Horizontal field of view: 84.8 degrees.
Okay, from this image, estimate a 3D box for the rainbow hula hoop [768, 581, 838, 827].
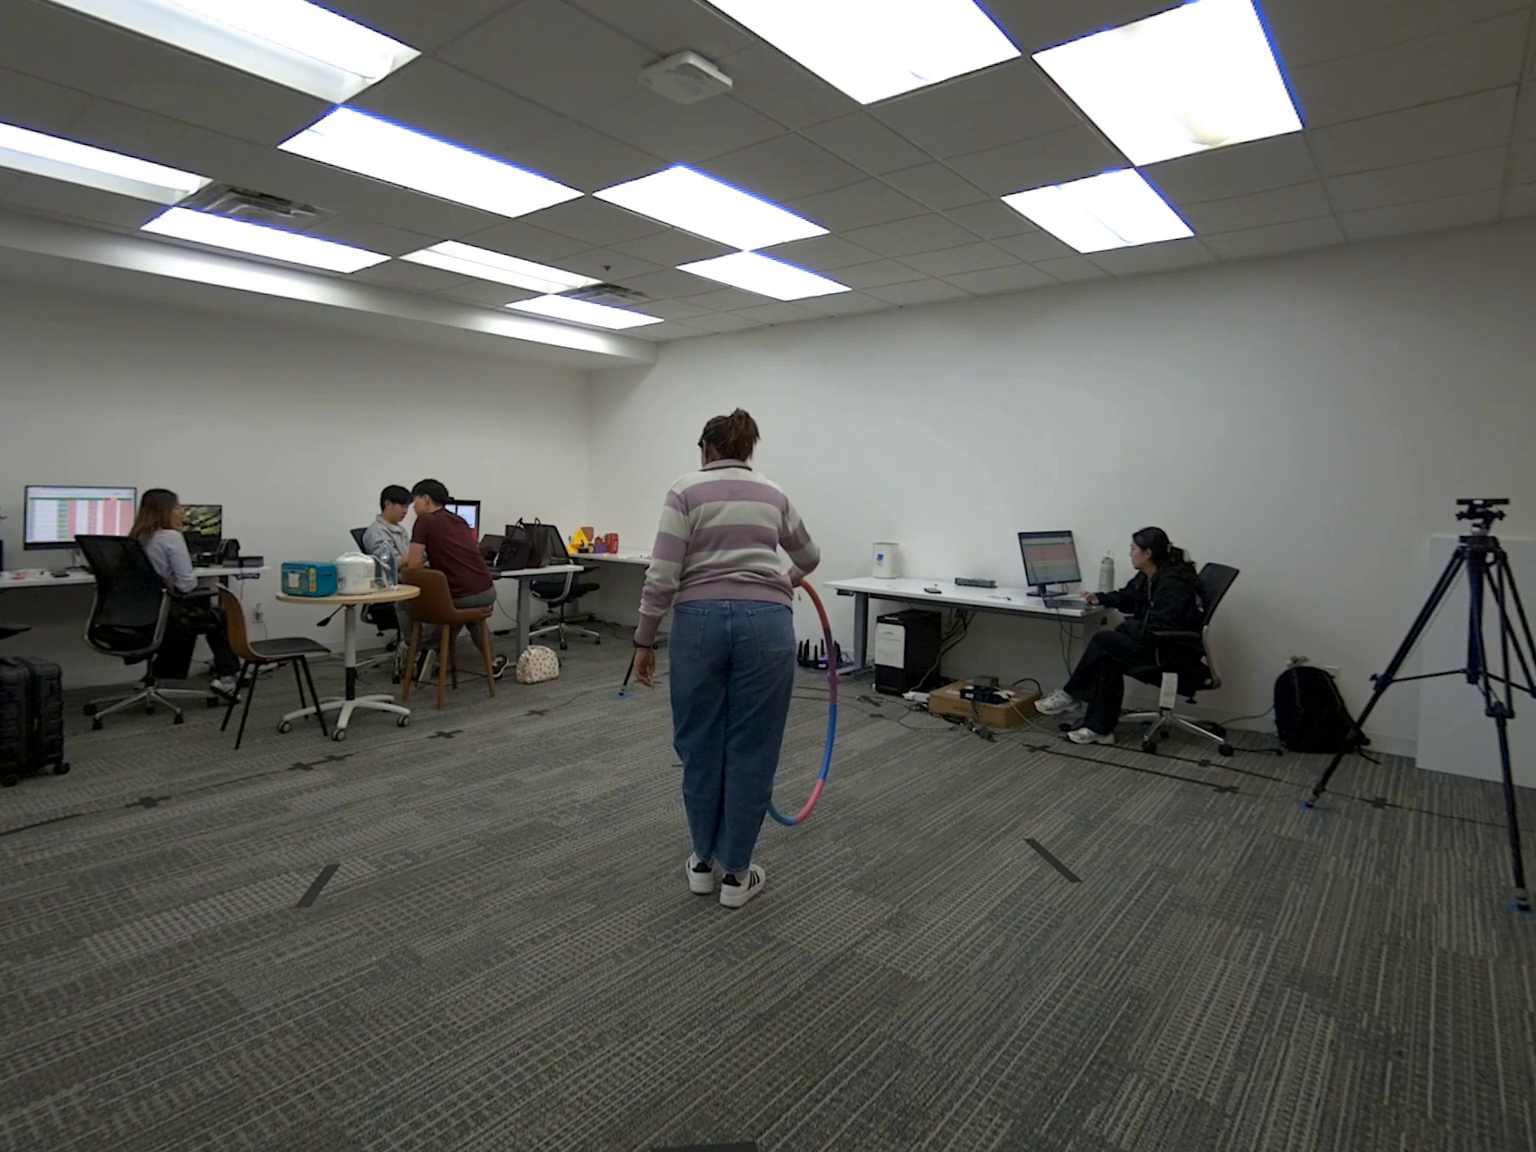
[{"bbox_3d":[0.110,0.505,3.498,0.036,0.978,0.957,-3,2,23],"label":"rainbow hula hoop"}]
